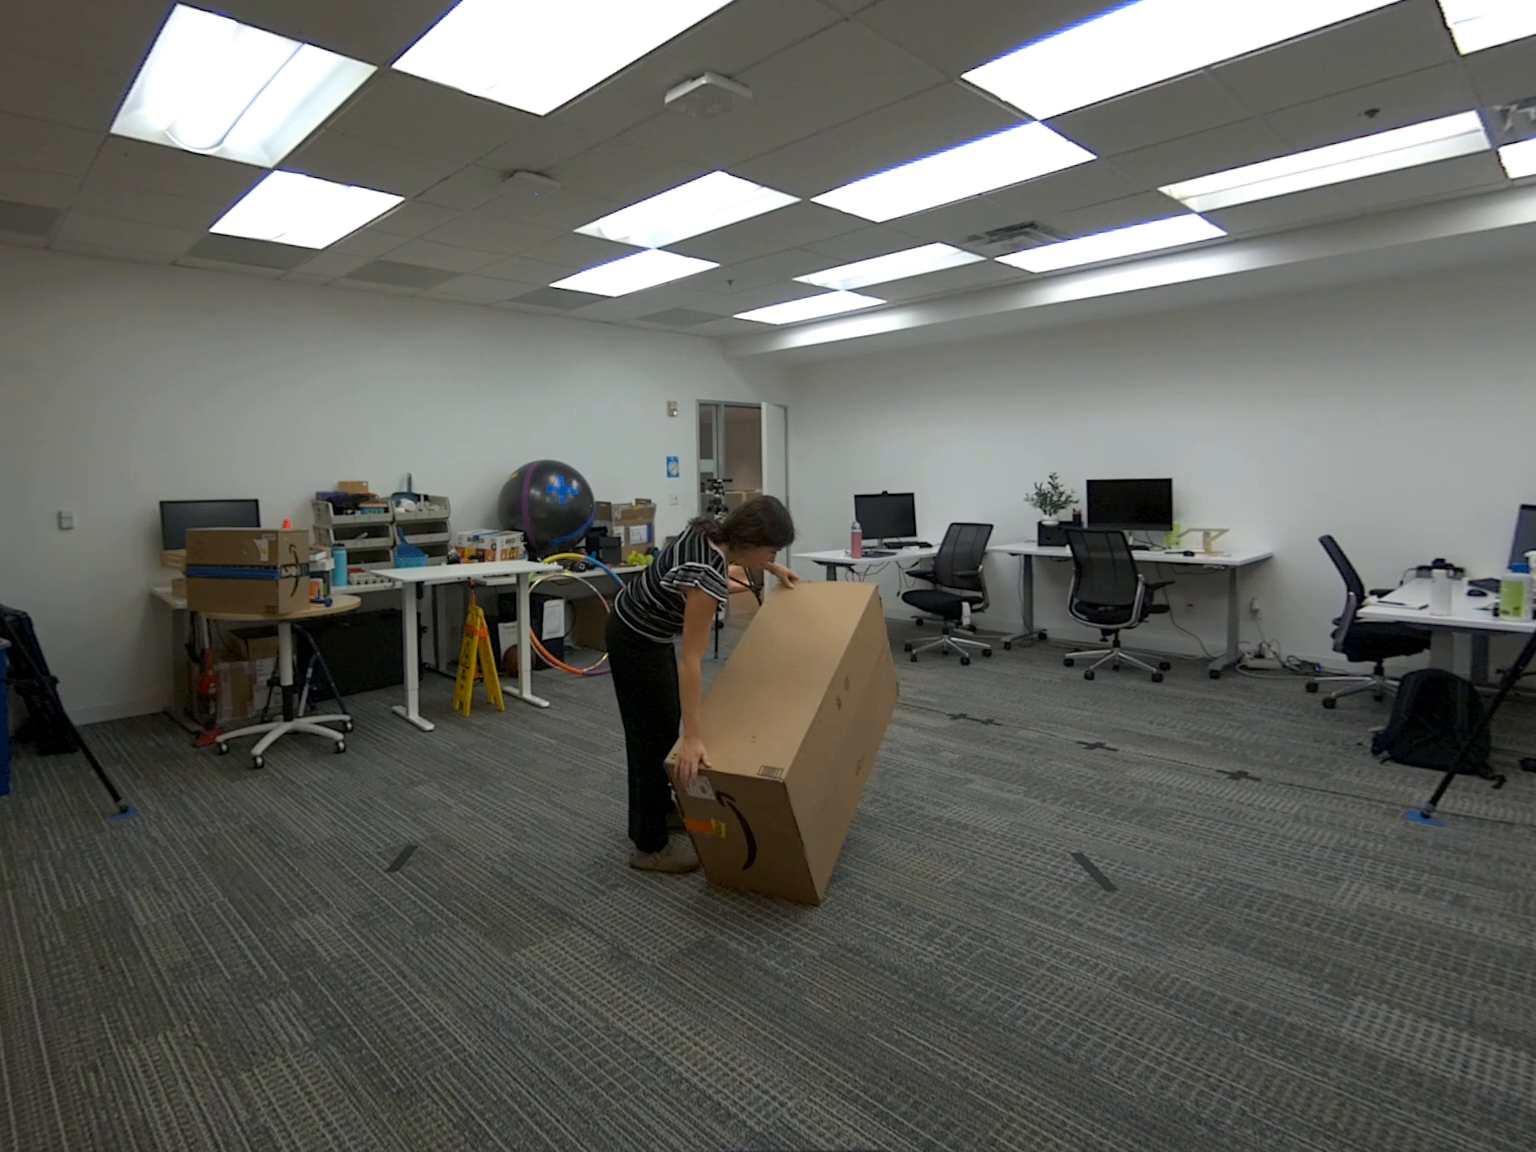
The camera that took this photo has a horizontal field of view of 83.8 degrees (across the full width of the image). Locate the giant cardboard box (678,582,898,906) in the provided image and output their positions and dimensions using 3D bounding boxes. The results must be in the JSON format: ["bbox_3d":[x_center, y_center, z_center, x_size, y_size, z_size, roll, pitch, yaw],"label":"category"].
[{"bbox_3d":[0.105,0.548,3.130,0.436,0.561,1.031,0,34,26],"label":"giant cardboard box"}]
